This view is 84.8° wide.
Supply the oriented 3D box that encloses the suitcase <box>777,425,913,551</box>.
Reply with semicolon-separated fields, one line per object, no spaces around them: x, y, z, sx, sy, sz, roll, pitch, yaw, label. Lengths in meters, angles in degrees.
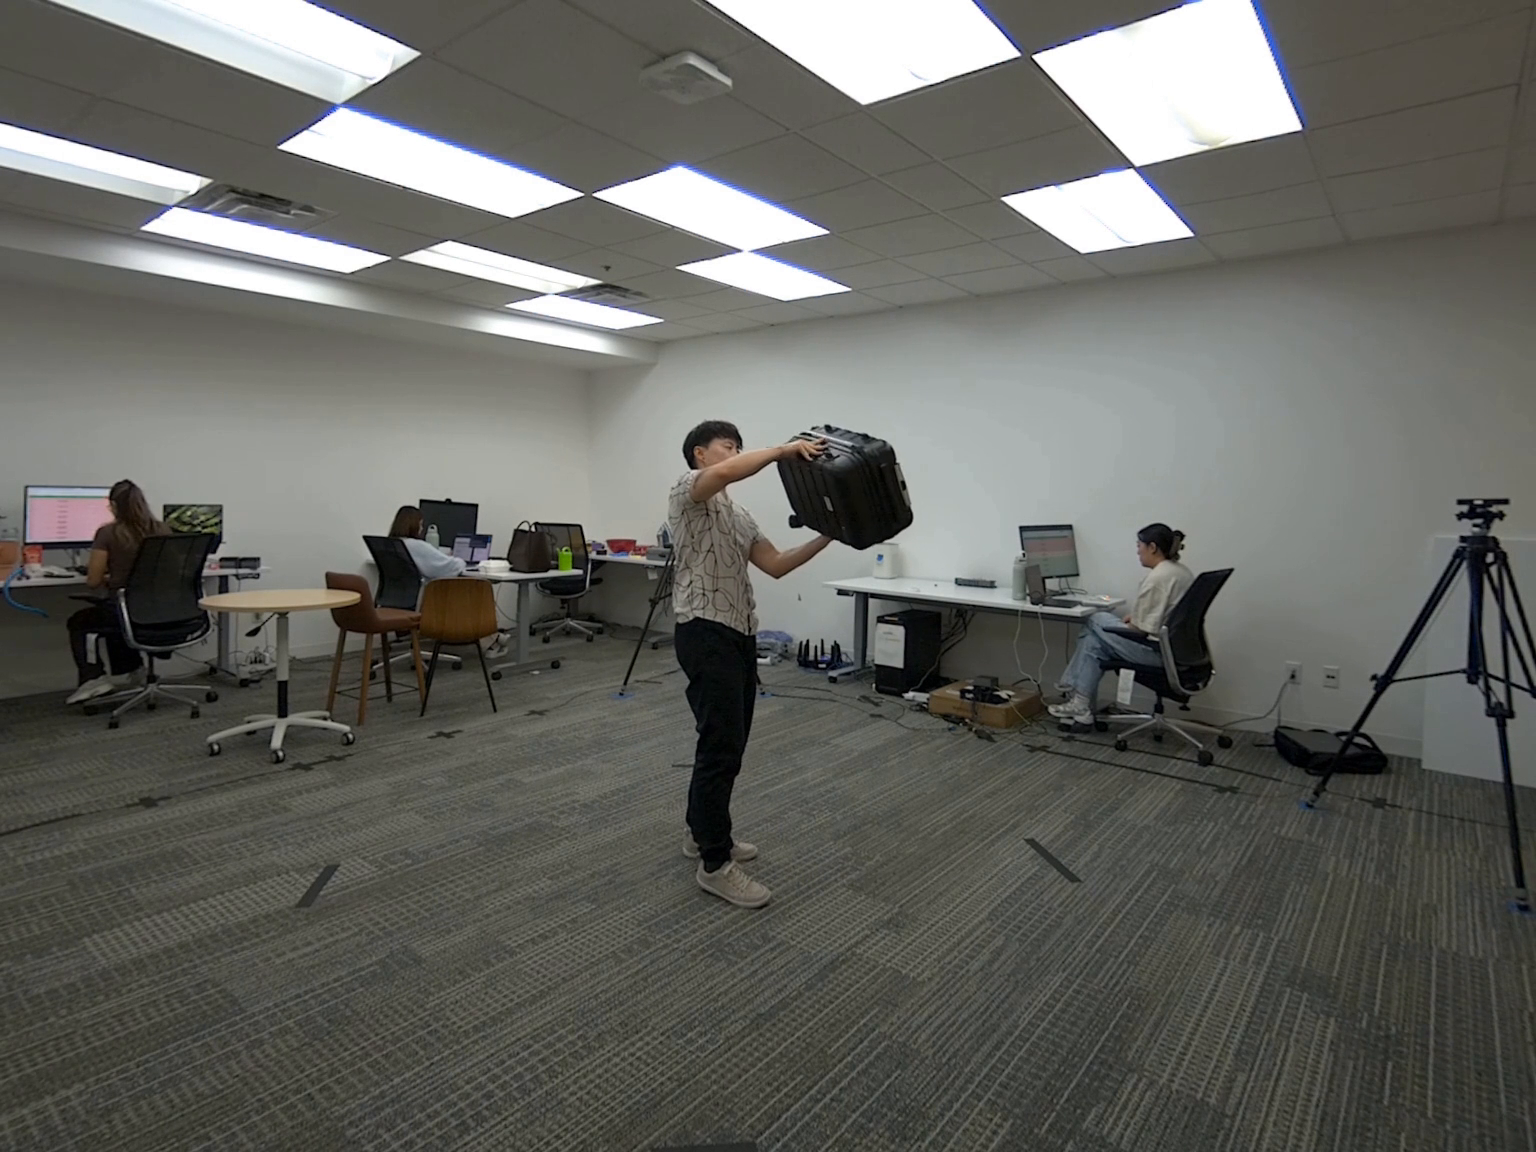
0.254;-0.327;3.070;0.246;0.366;0.568;-27;23;-16;suitcase
